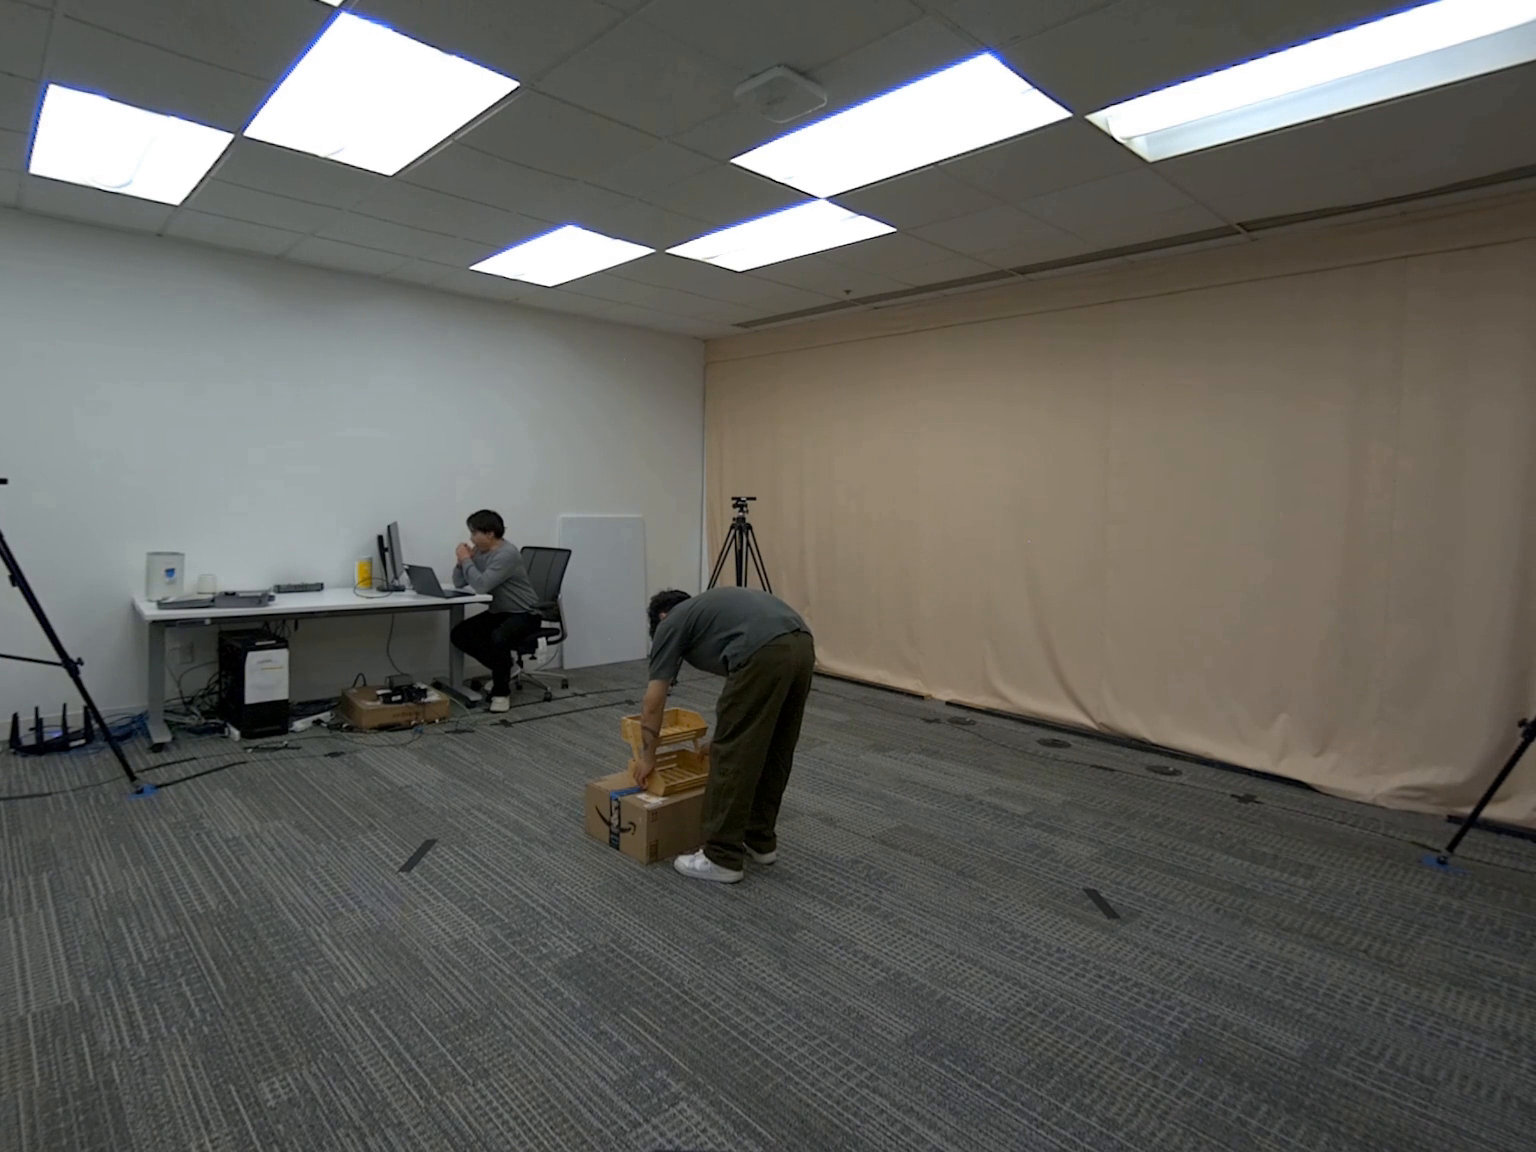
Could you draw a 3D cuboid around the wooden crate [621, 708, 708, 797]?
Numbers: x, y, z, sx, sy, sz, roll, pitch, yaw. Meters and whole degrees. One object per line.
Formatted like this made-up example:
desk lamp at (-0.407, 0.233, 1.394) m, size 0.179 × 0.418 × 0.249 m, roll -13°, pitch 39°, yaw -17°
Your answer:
wooden crate at (-0.413, 0.721, 3.510) m, size 0.317 × 0.273 × 0.309 m, roll -2°, pitch 5°, yaw -44°
